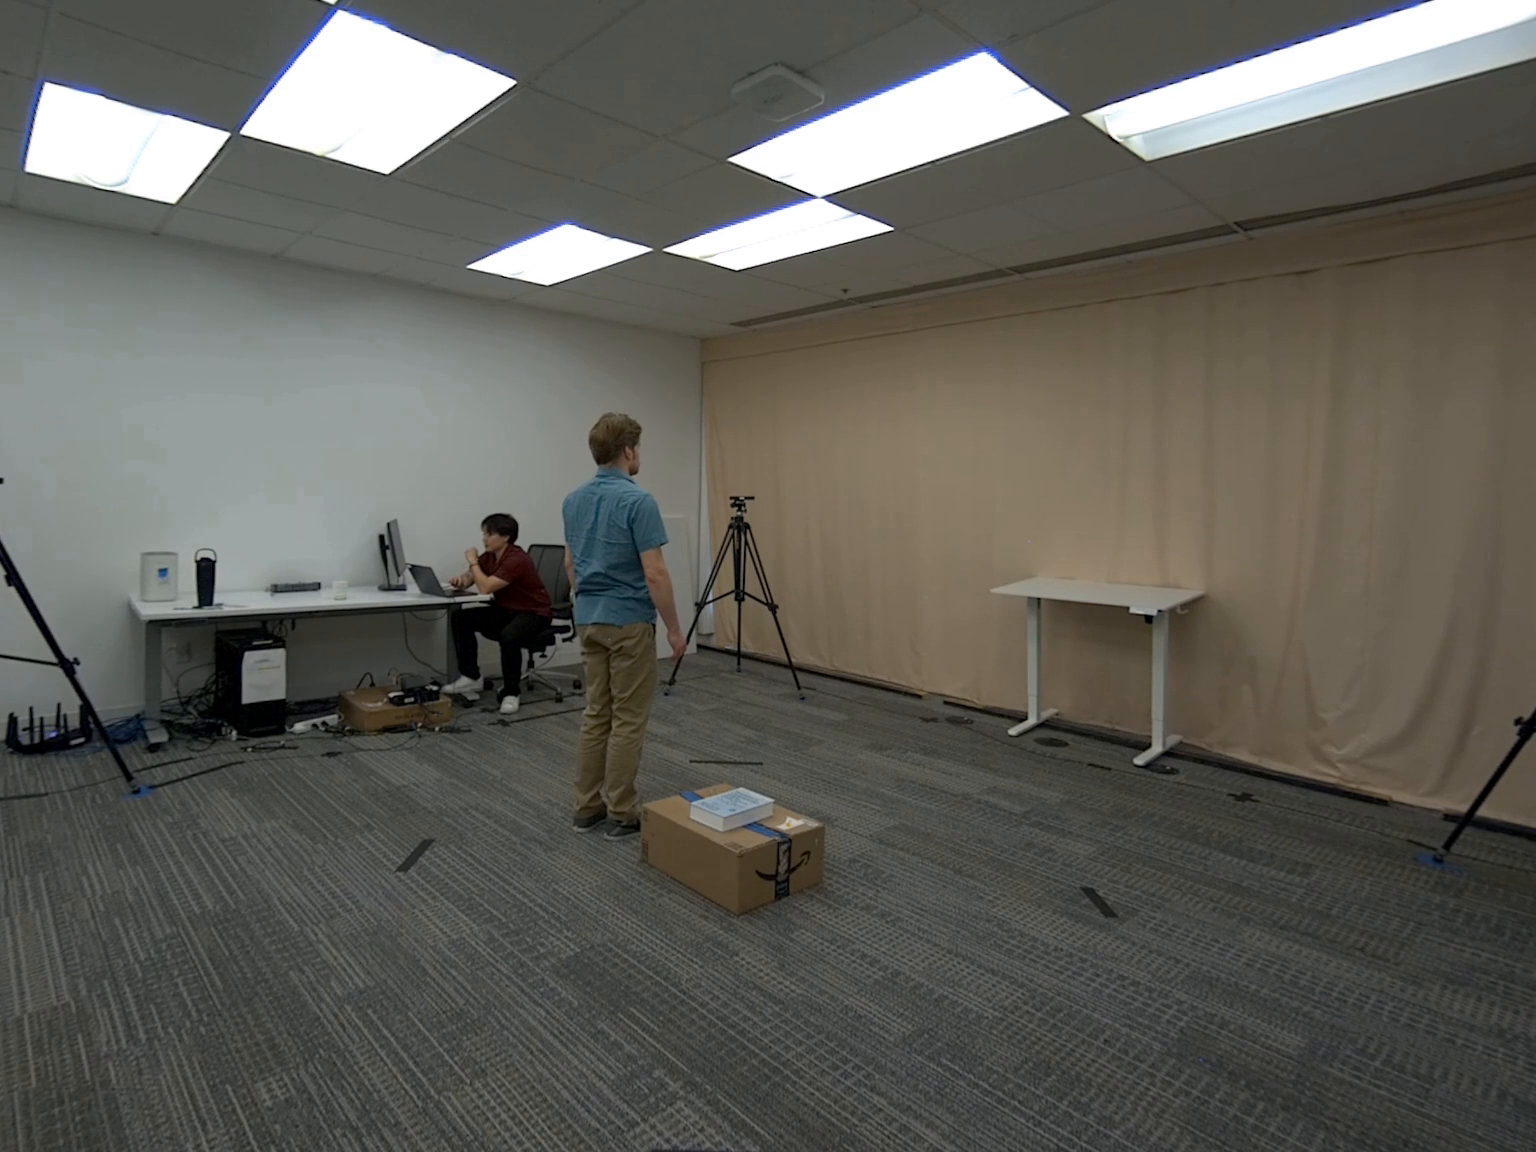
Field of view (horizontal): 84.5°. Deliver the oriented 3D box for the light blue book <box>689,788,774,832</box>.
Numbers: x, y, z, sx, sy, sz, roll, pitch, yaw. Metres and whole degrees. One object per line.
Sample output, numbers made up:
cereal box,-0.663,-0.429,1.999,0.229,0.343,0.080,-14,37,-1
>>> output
light blue book,-0.140,0.860,3.124,0.196,0.059,0.255,6,7,45
